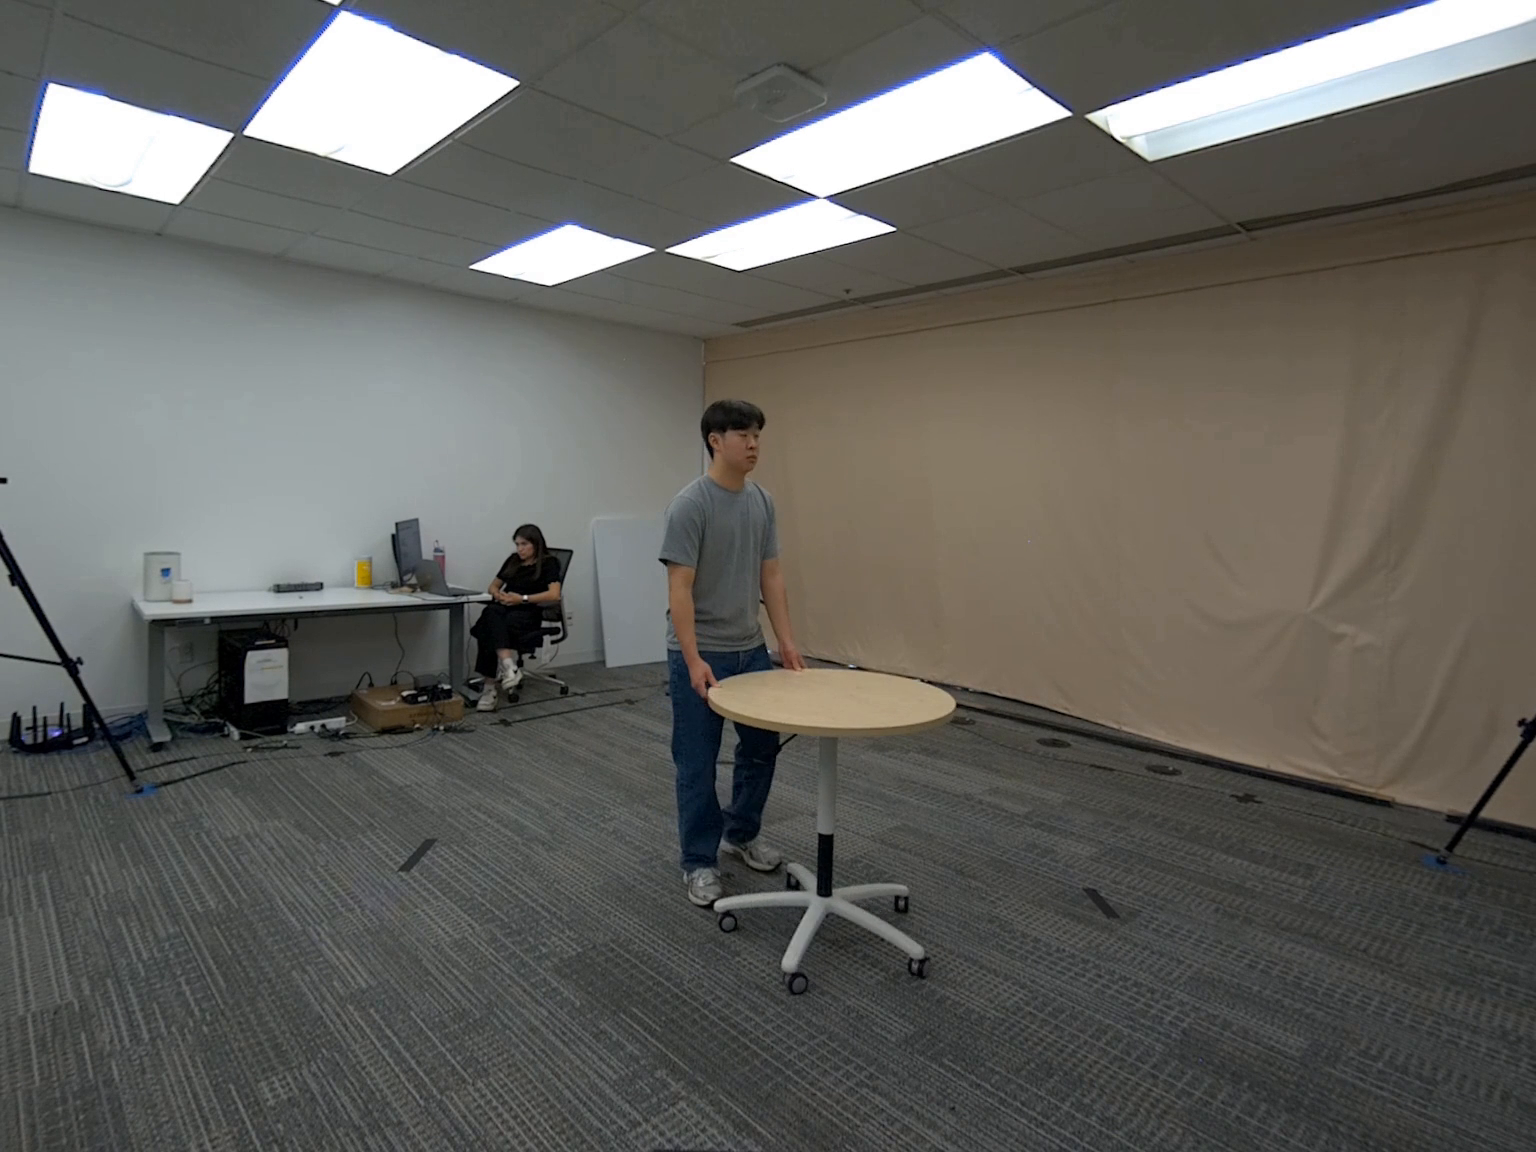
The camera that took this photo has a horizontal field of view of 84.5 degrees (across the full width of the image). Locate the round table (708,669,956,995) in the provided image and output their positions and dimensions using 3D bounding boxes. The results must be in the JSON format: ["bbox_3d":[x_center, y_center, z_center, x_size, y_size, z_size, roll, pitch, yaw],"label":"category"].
[{"bbox_3d":[0.181,0.765,2.658,0.763,0.791,0.767,1,5,-1],"label":"round table"}]
